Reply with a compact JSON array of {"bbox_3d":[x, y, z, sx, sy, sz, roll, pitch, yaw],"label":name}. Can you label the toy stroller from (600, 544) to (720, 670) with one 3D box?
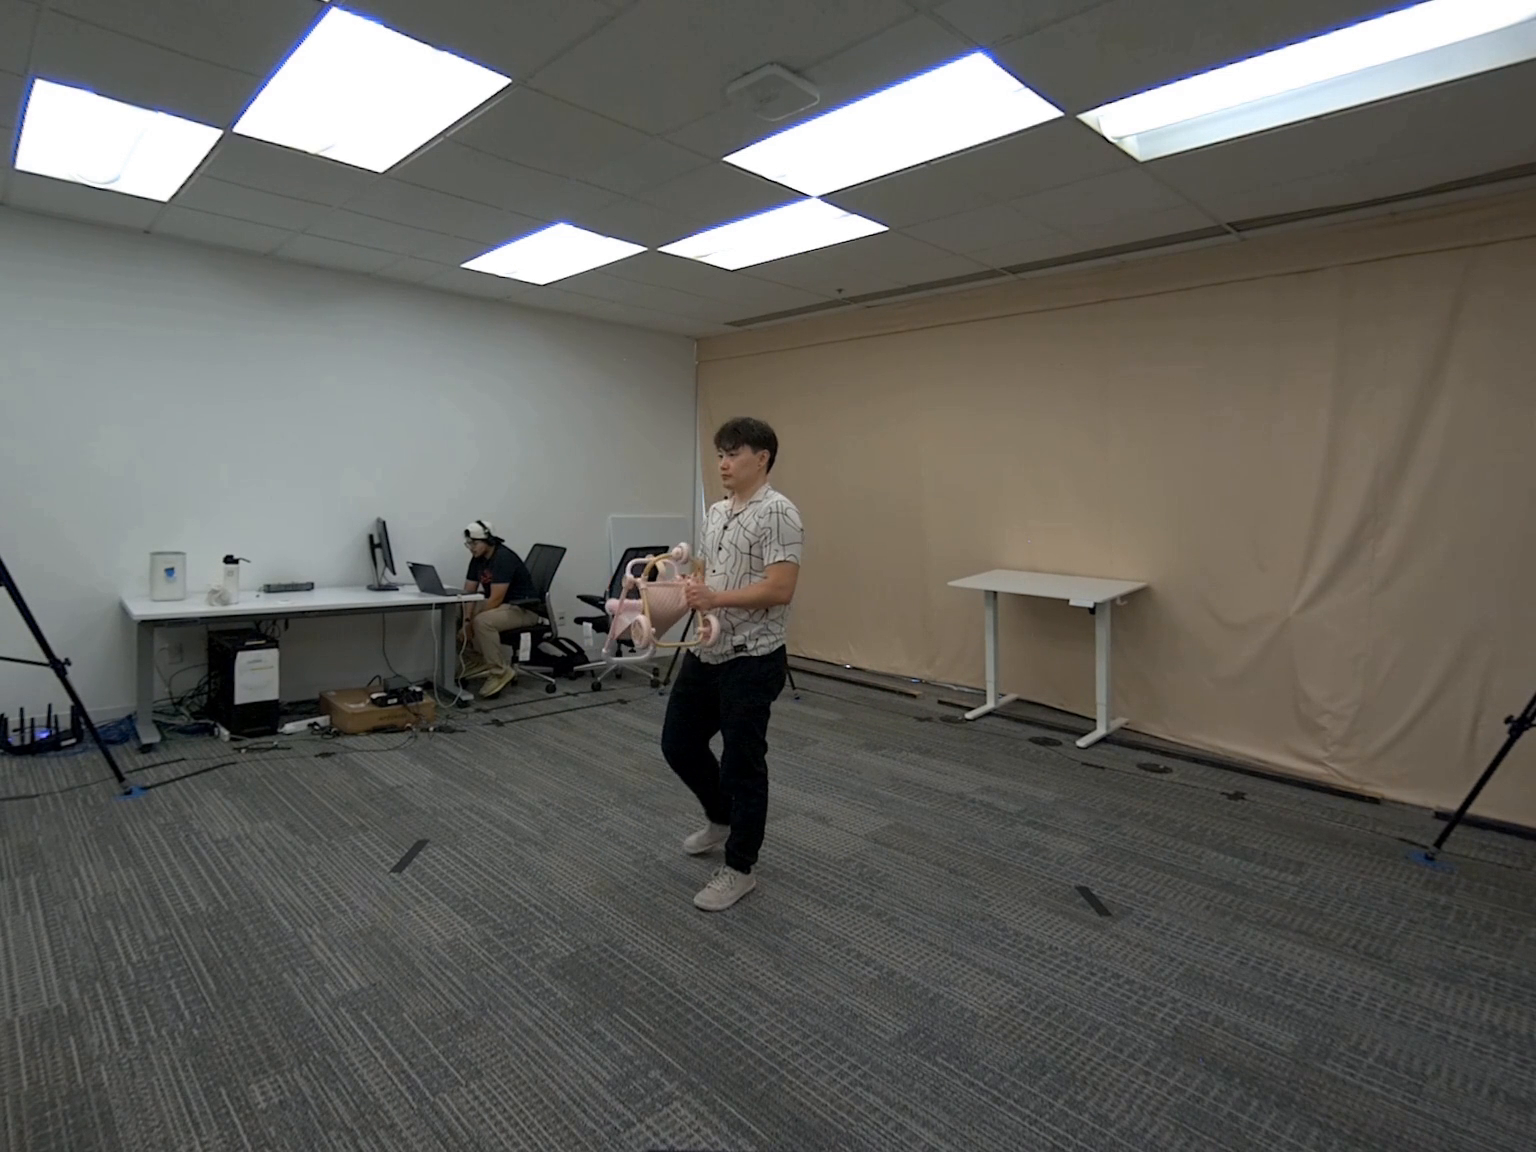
[{"bbox_3d":[-0.393,0.107,2.830,0.276,0.344,0.542,-3,-10,-33],"label":"toy stroller"}]
